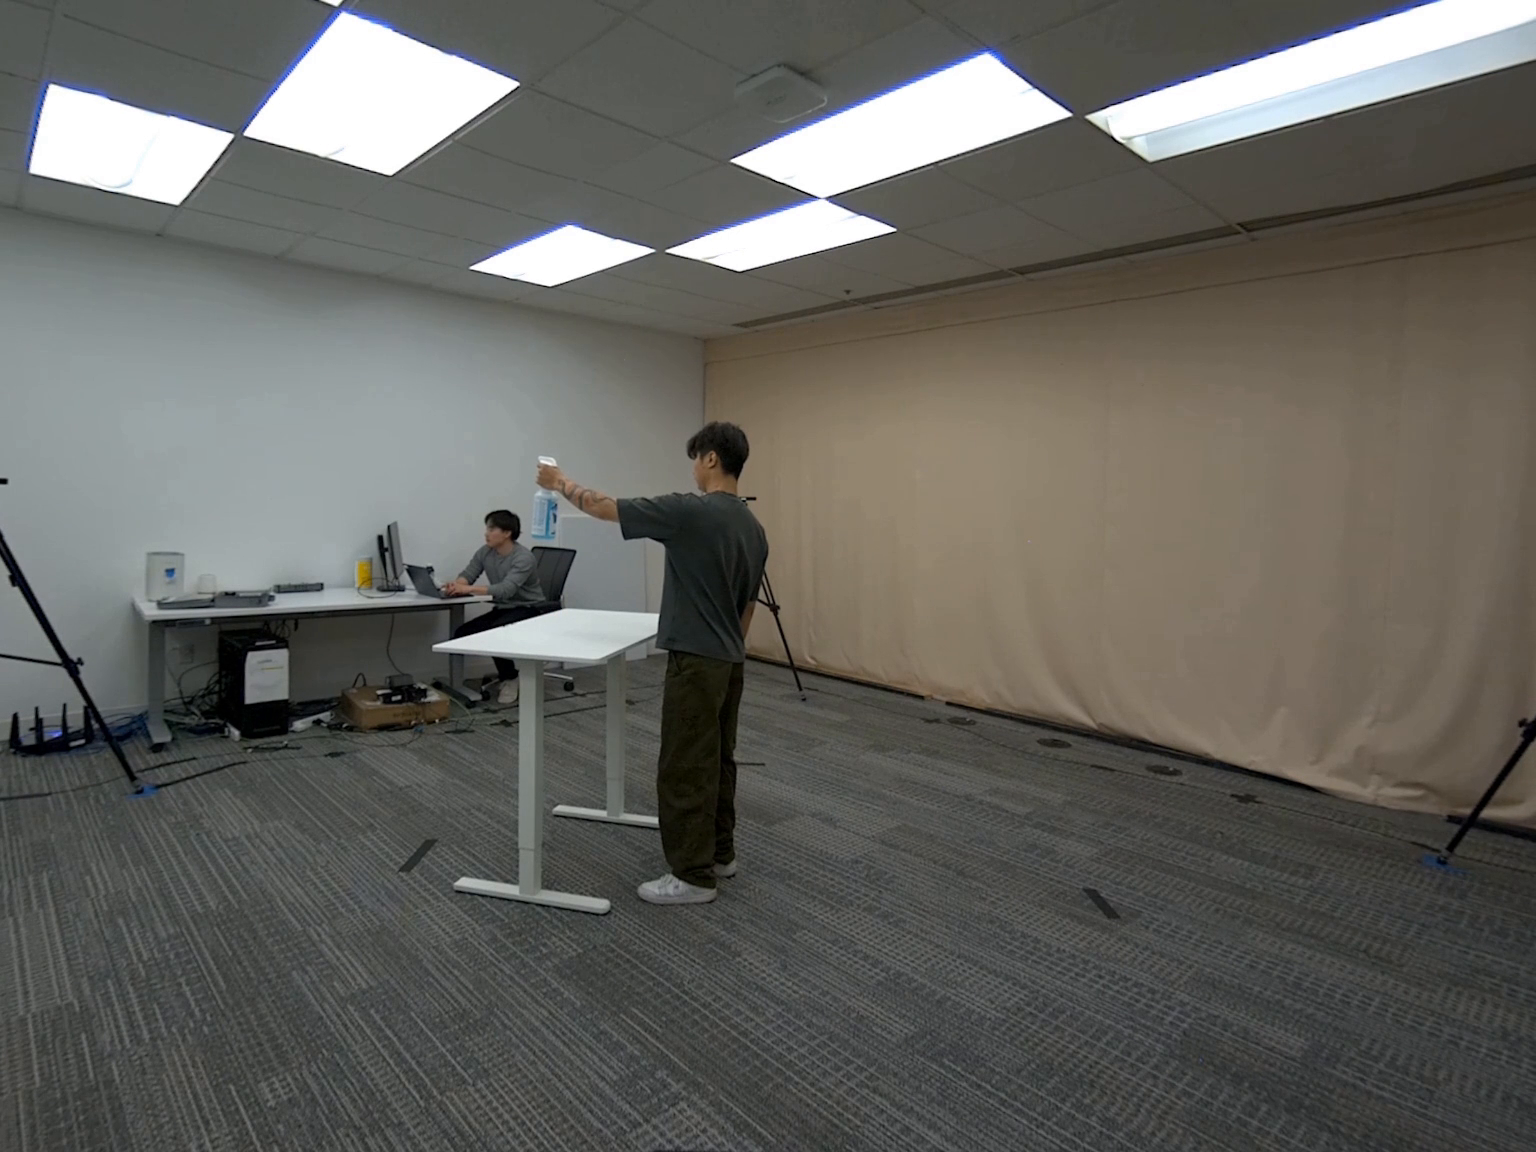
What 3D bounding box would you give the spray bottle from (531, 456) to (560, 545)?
[{"bbox_3d":[-0.809,-0.280,3.069,0.085,0.296,0.092,4,5,-32],"label":"spray bottle"}]
